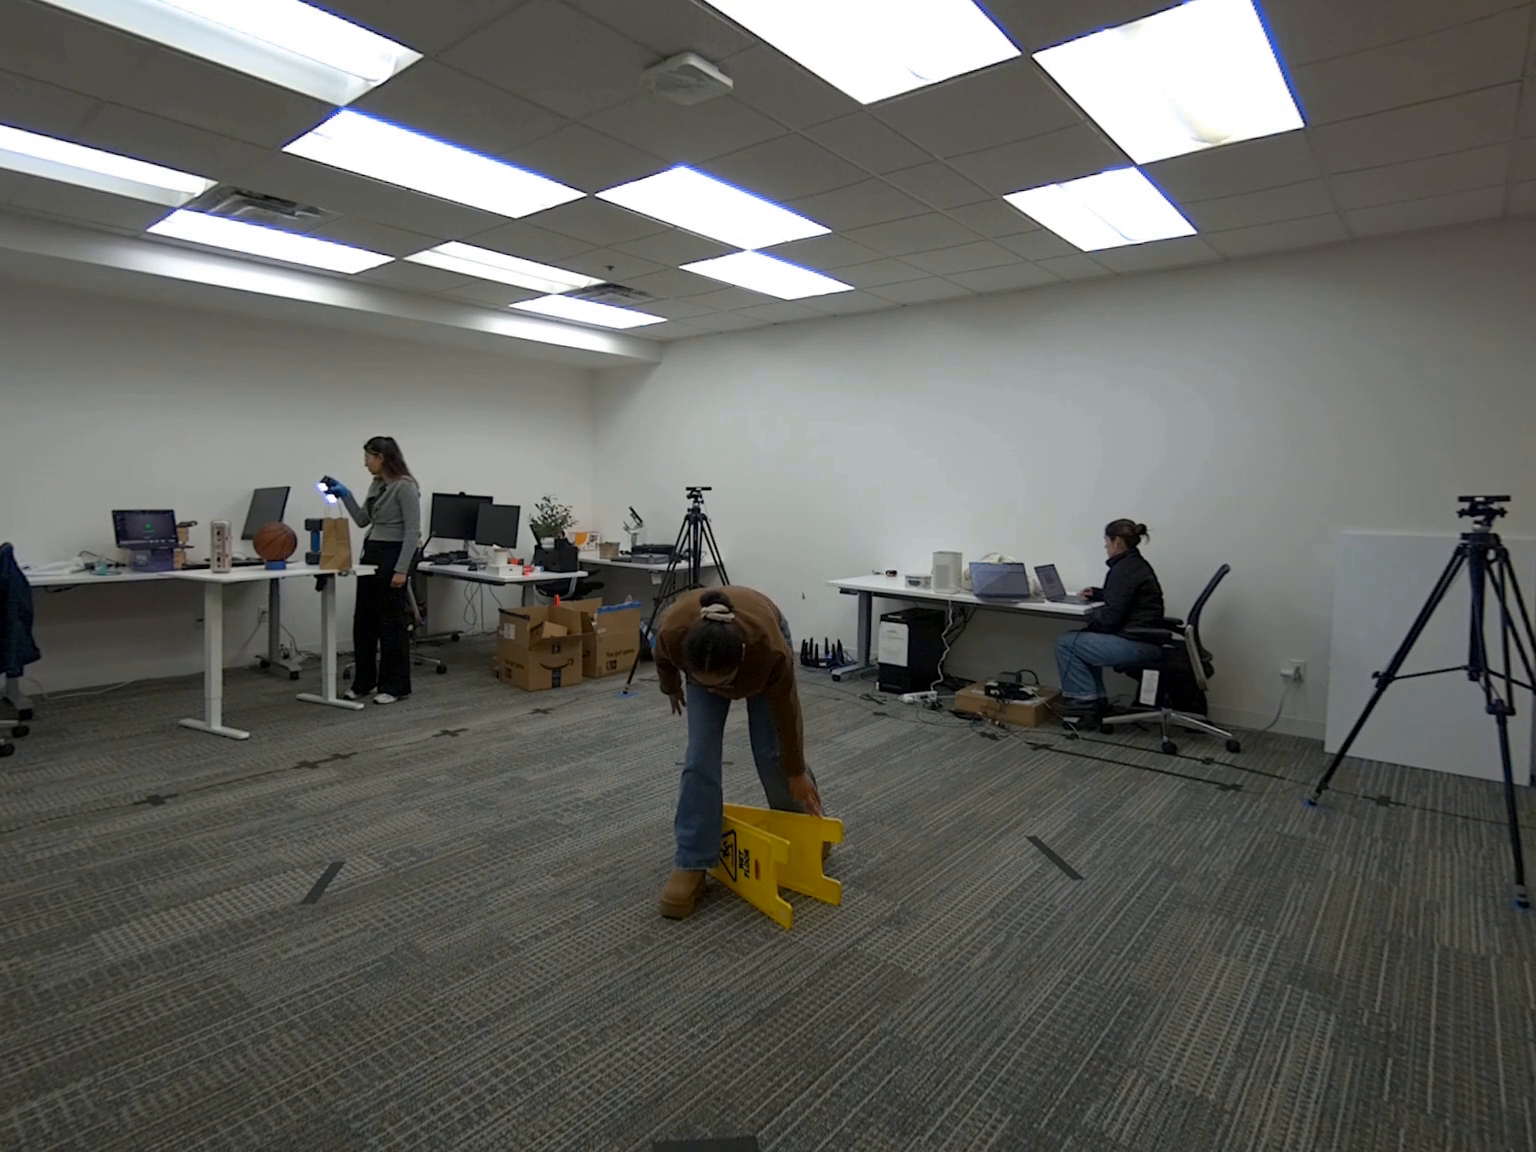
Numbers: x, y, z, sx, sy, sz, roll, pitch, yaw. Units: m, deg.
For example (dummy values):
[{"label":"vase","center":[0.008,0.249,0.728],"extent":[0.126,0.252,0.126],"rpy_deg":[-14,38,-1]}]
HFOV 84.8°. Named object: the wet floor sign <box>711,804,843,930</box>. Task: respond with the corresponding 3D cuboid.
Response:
[{"label":"wet floor sign","center":[-0.088,0.953,2.991],"extent":[0.667,0.282,0.281],"rpy_deg":[2,3,44]}]
